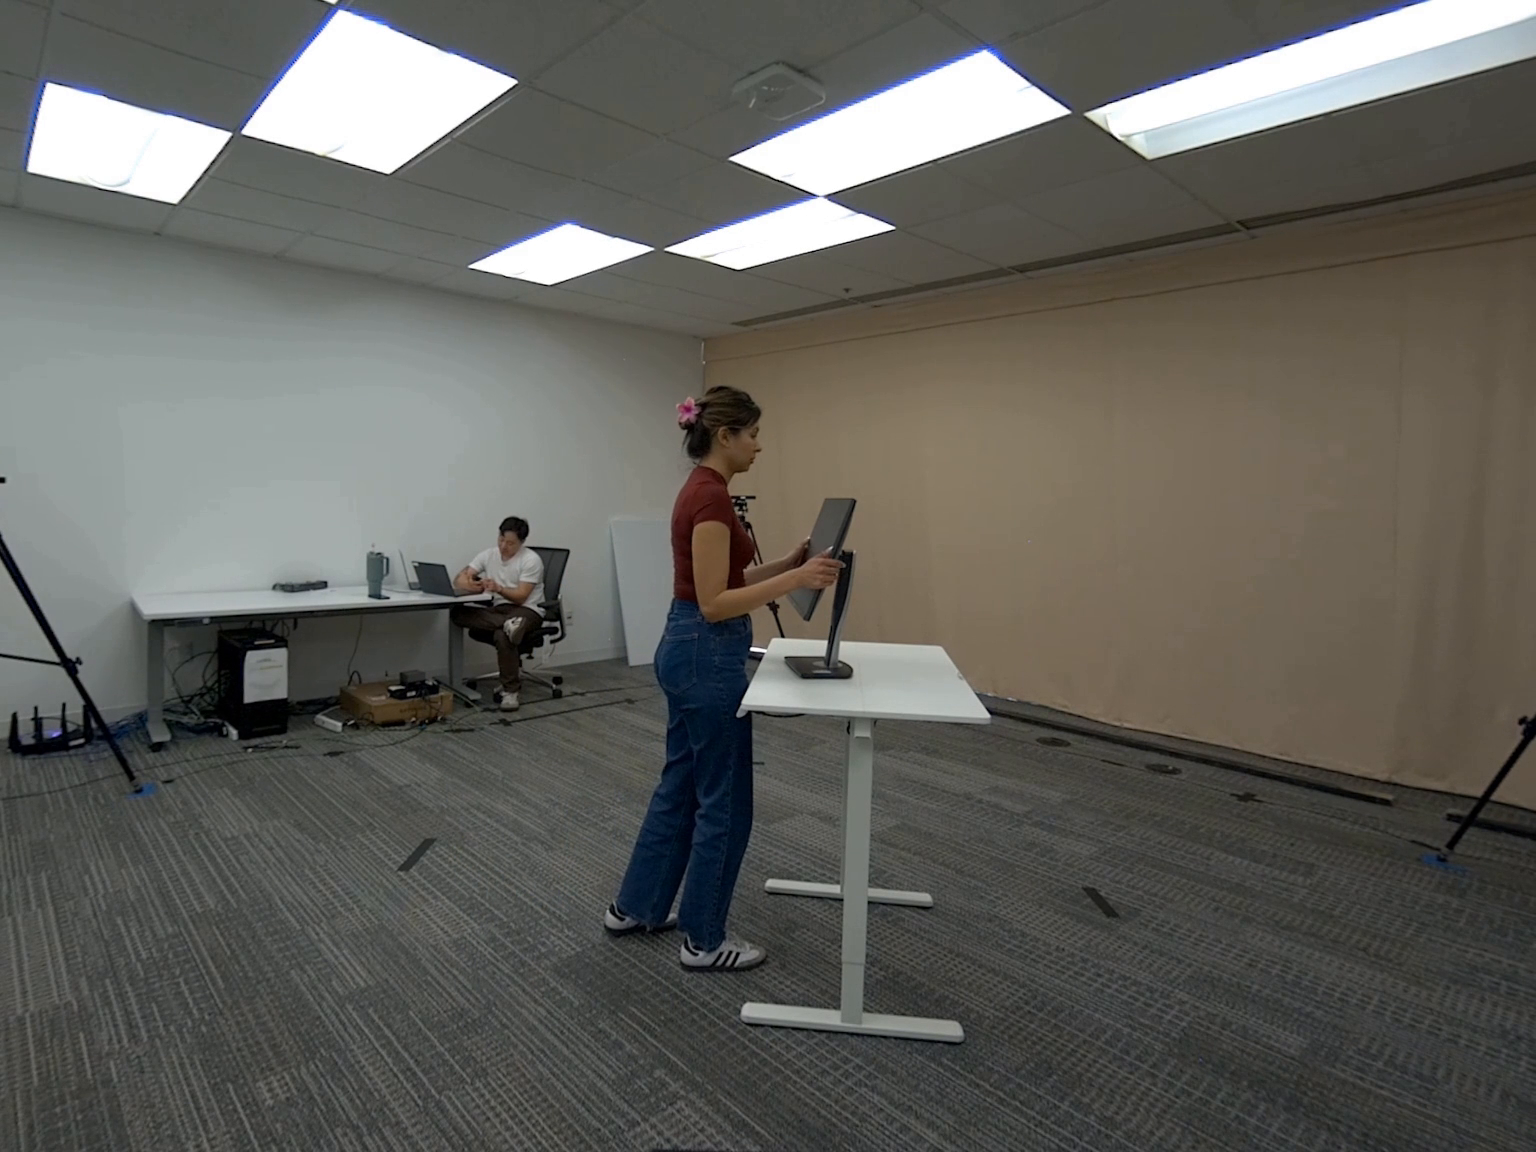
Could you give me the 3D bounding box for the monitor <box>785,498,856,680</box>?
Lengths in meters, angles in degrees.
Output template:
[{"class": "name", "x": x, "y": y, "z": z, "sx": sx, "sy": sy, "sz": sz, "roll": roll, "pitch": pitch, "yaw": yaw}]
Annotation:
[{"class": "monitor", "x": 0.168, "y": 0.031, "z": 2.508, "sx": 0.186, "sy": 0.521, "sz": 0.542, "roll": 5, "pitch": 4, "yaw": -6}]
